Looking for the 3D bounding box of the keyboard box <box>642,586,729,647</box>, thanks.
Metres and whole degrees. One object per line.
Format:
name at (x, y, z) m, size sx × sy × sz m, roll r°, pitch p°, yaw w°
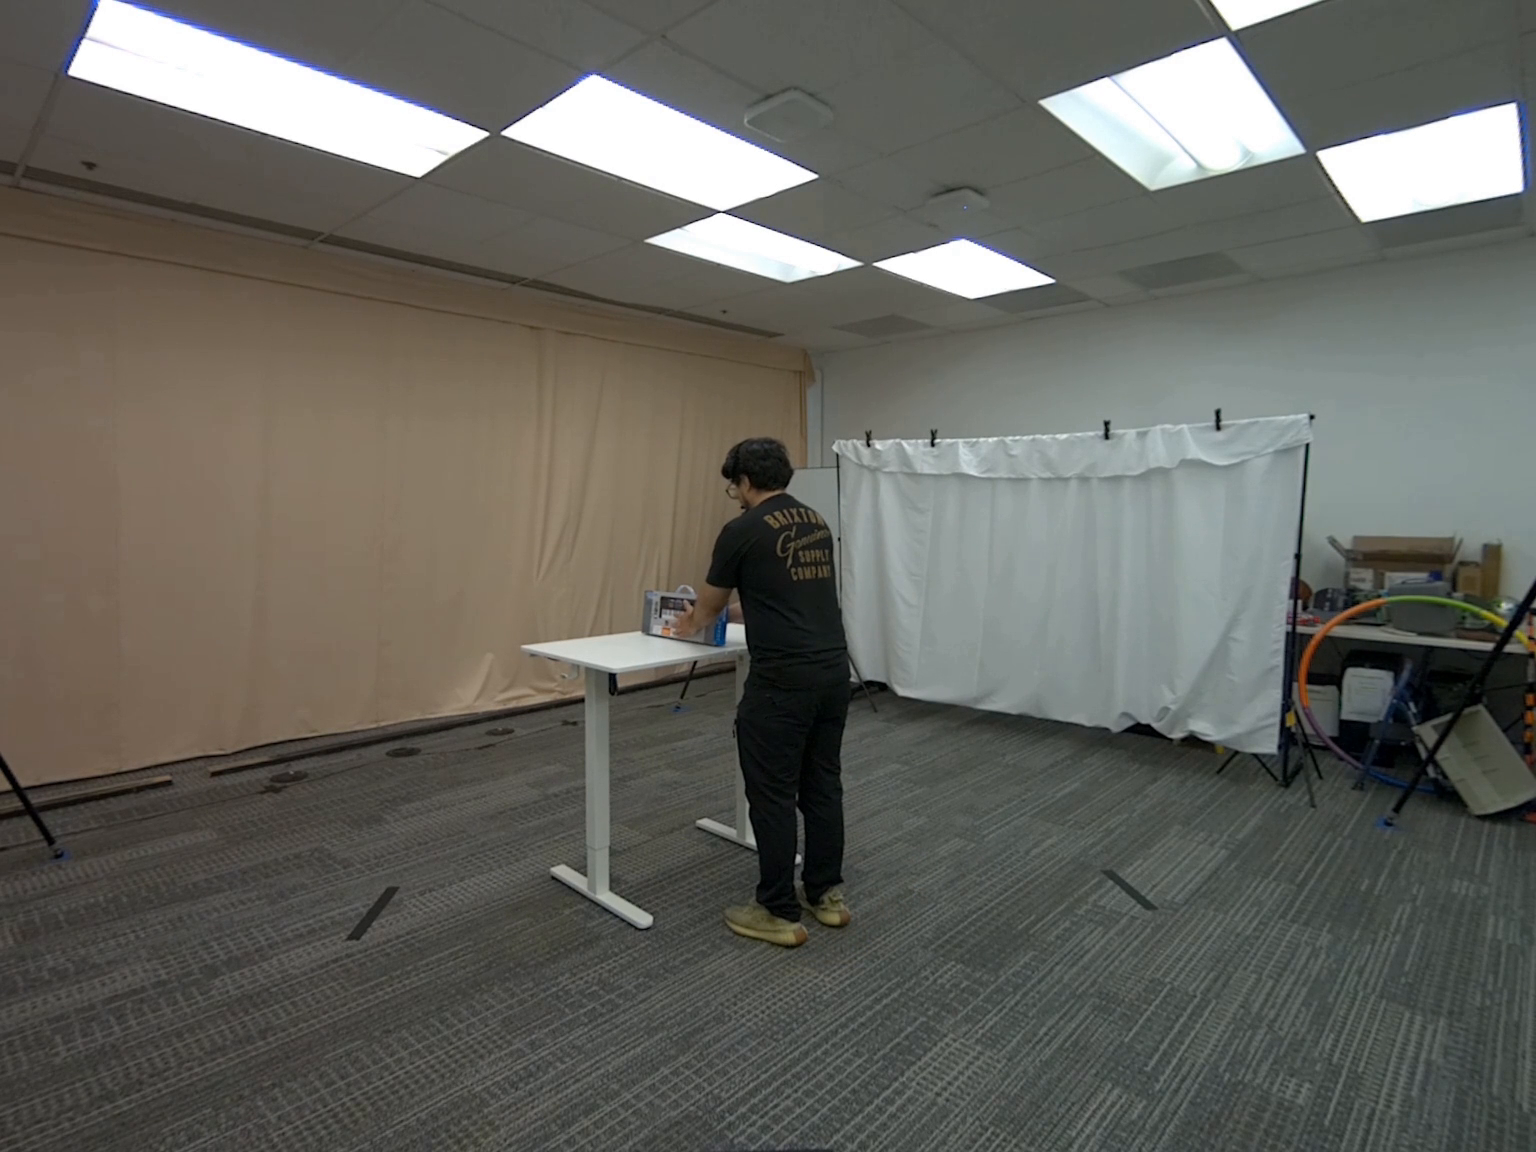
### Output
keyboard box at (-0.324, 0.157, 3.217) m, size 0.057 × 0.176 × 0.451 m, roll 7°, pitch -3°, yaw -44°
